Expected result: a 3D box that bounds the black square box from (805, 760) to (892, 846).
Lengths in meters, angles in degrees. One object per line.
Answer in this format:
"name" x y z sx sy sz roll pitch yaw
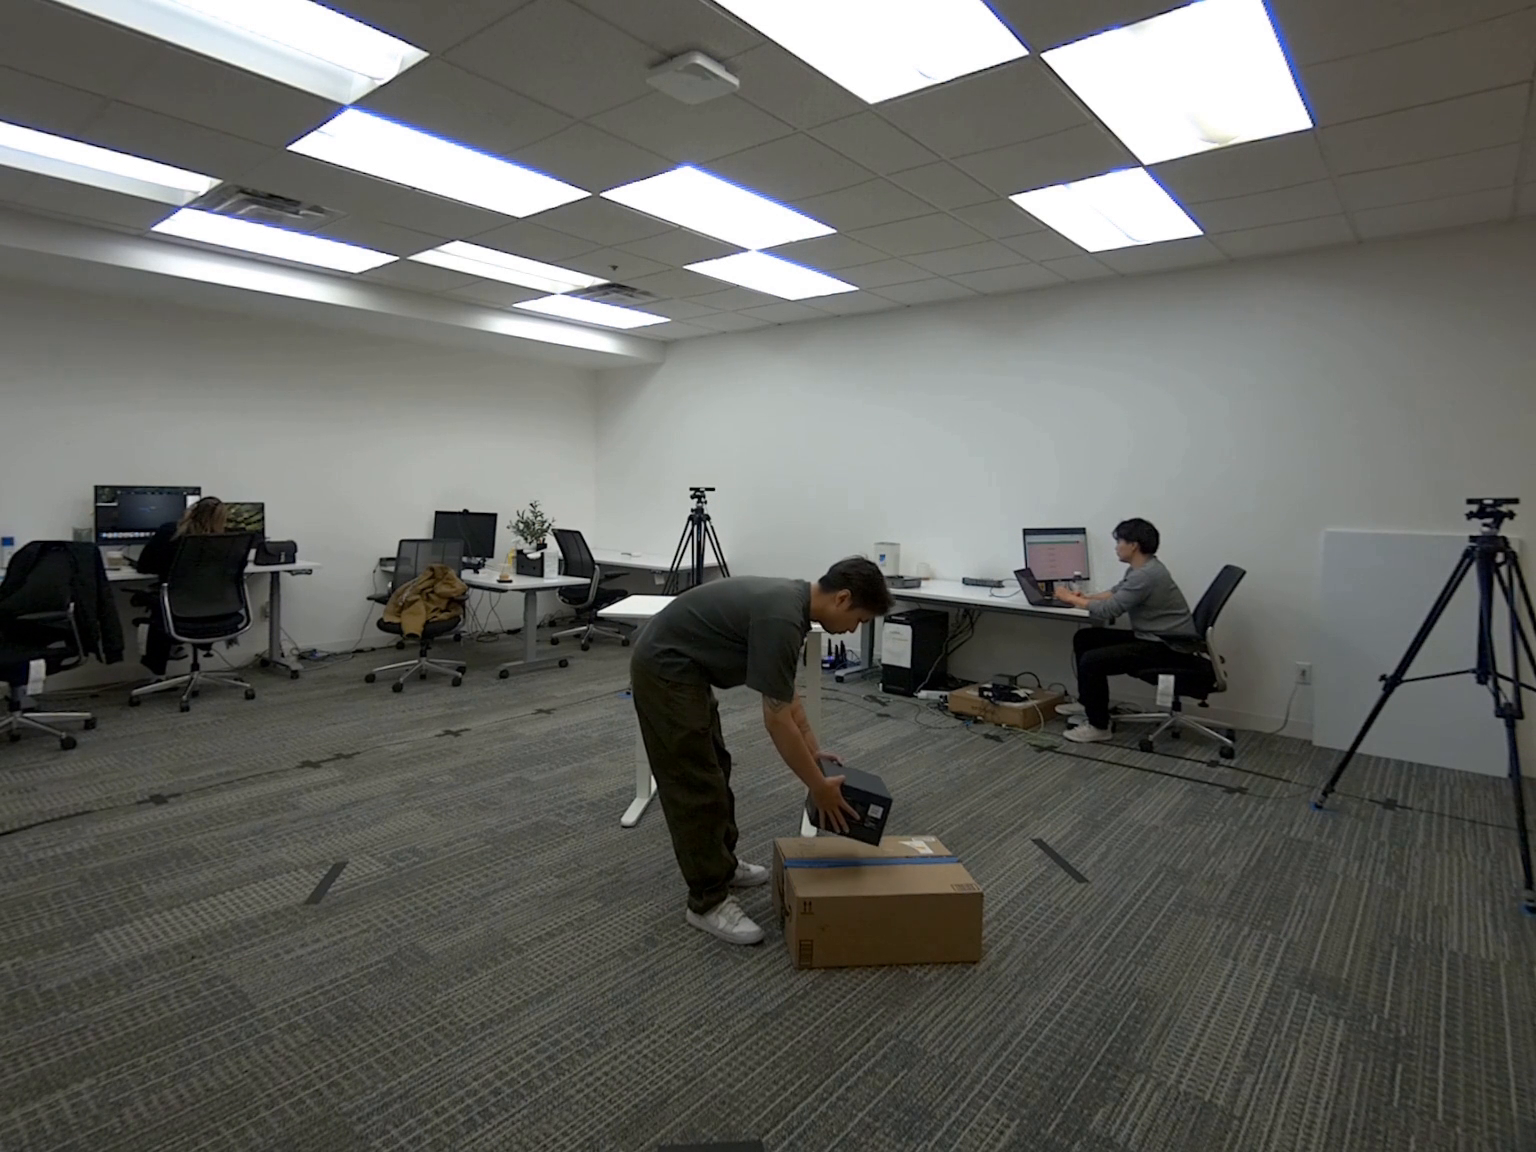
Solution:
"black square box" 0.247 0.711 2.695 0.216 0.156 0.229 17 2 -3
